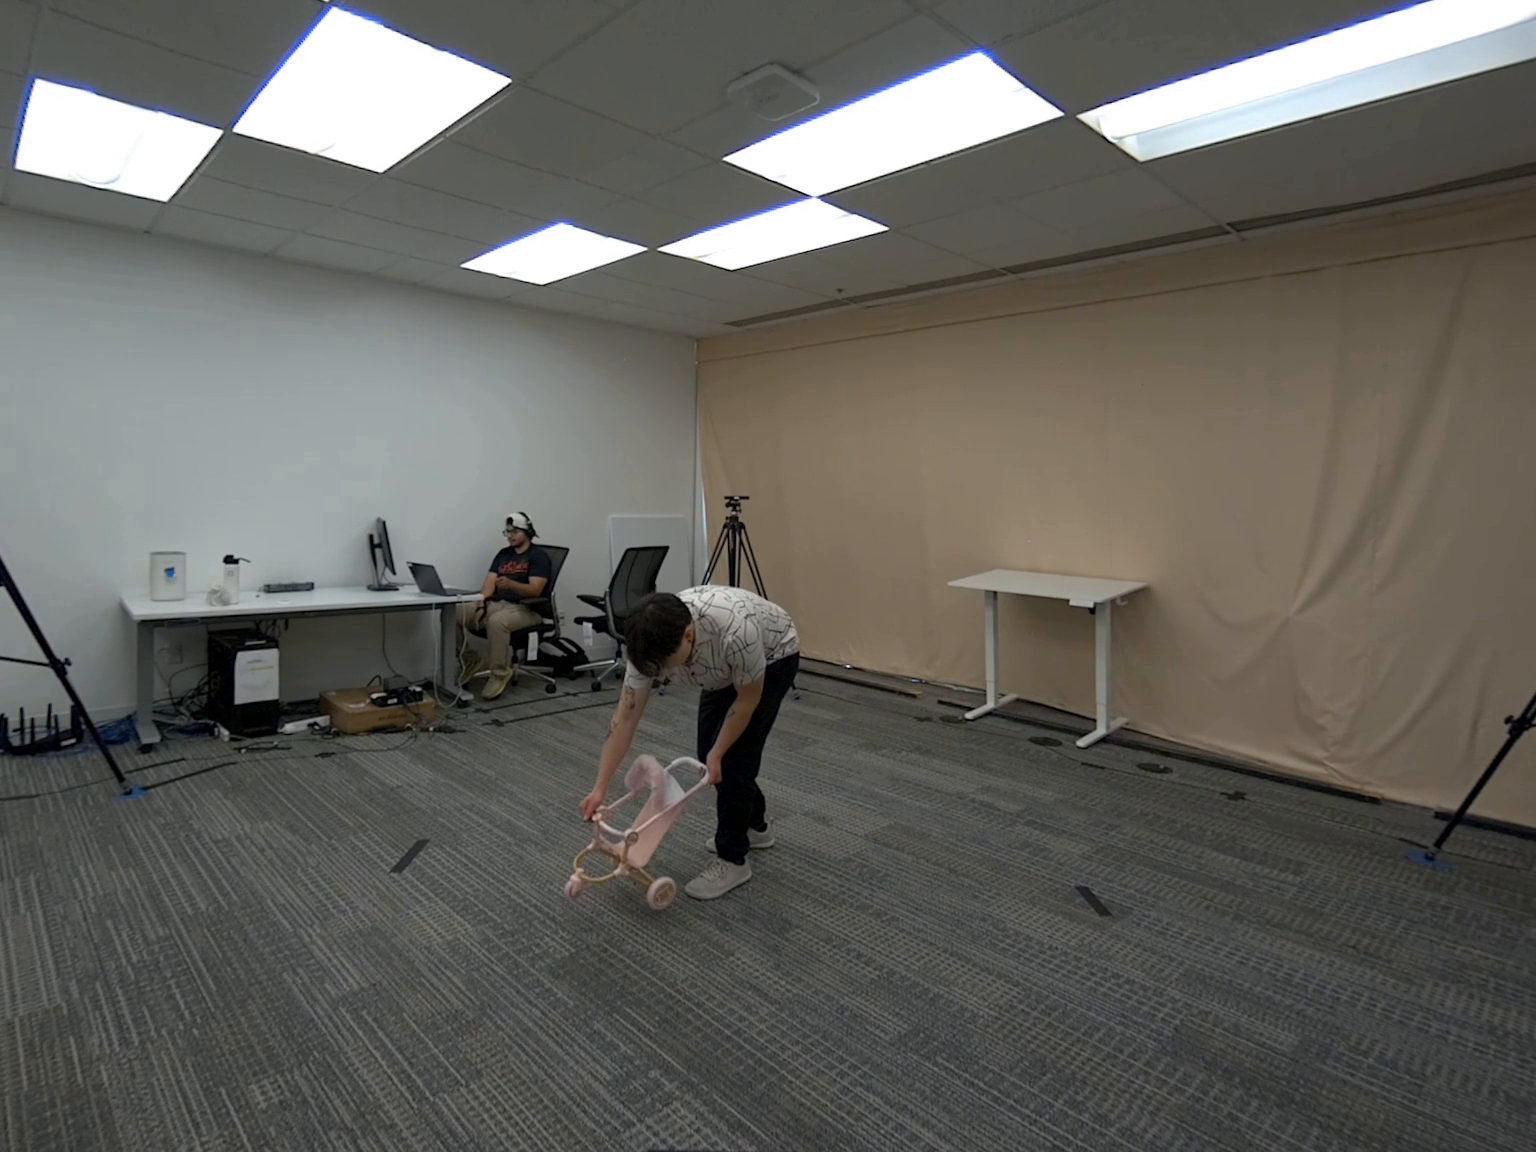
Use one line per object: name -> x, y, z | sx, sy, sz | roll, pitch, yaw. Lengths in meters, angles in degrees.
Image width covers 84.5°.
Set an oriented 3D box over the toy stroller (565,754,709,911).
toy stroller -> -0.449, 0.839, 2.800 | 0.332, 0.536, 0.289 | 27, -8, -33
